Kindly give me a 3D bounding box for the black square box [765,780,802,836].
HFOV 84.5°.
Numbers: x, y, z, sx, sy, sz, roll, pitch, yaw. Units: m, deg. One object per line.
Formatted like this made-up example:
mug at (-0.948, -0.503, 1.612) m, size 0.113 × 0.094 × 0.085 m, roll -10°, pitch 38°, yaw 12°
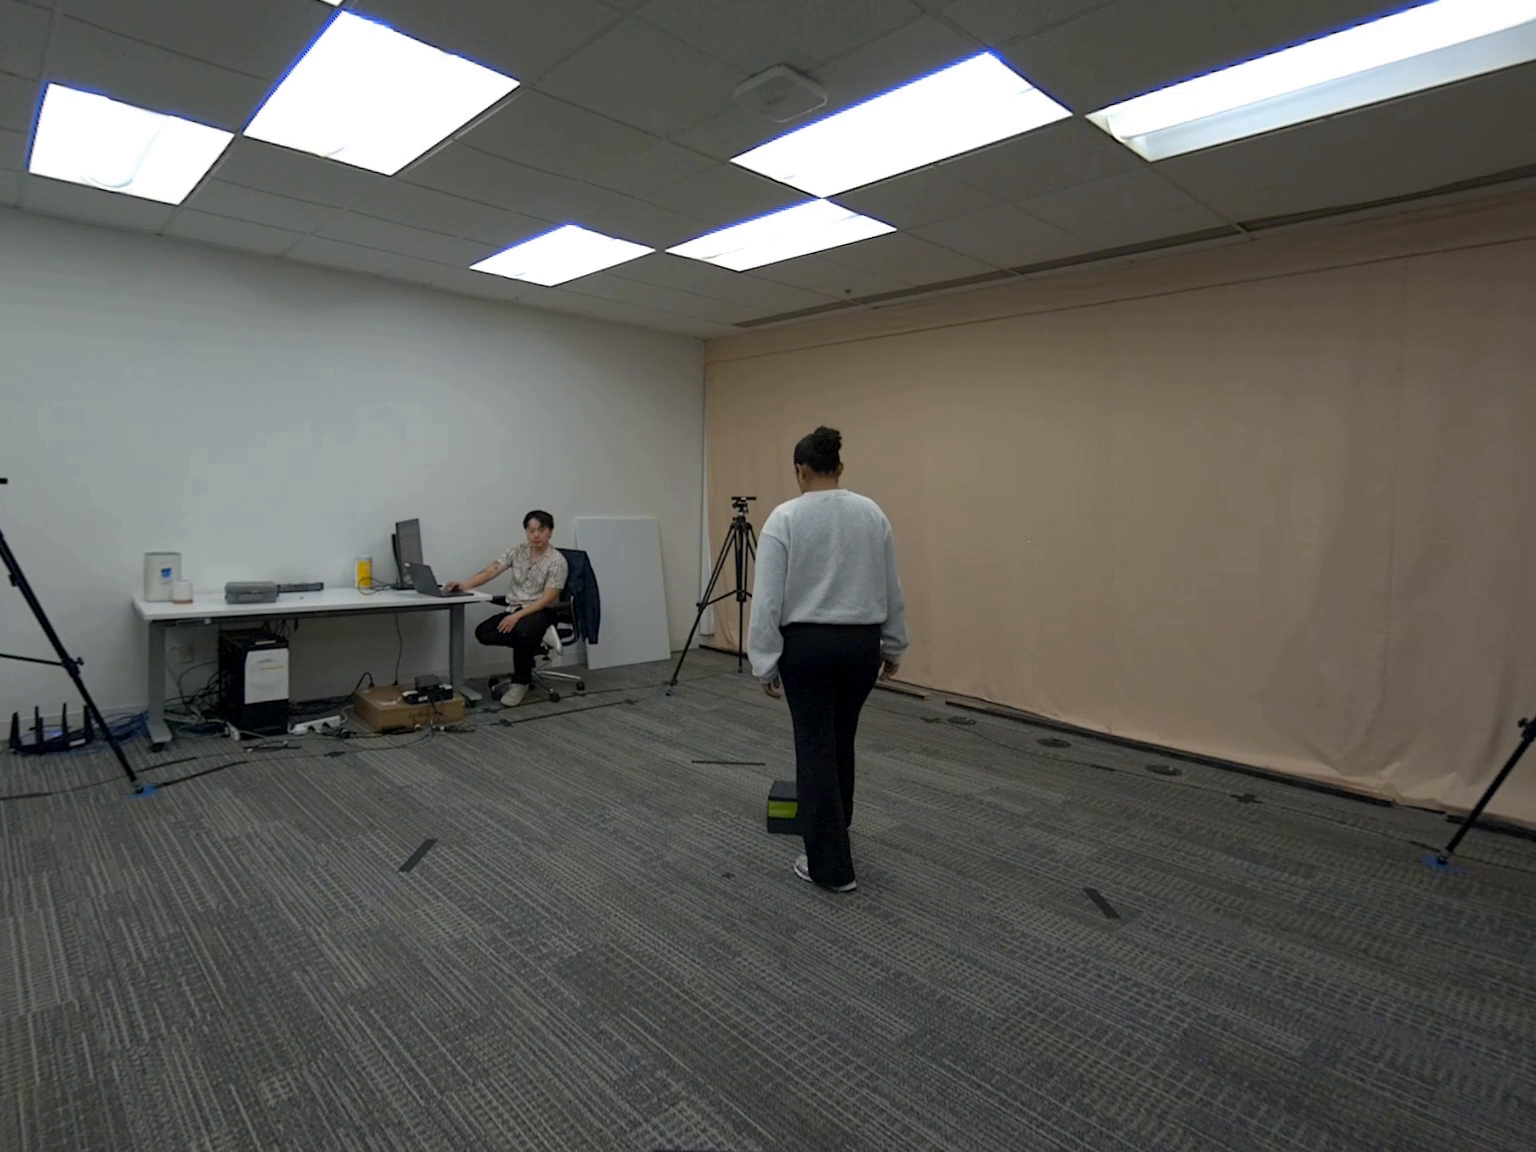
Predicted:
black square box at (0.112, 0.985, 3.590) m, size 0.230 × 0.155 × 0.216 m, roll 3°, pitch 4°, yaw 9°
